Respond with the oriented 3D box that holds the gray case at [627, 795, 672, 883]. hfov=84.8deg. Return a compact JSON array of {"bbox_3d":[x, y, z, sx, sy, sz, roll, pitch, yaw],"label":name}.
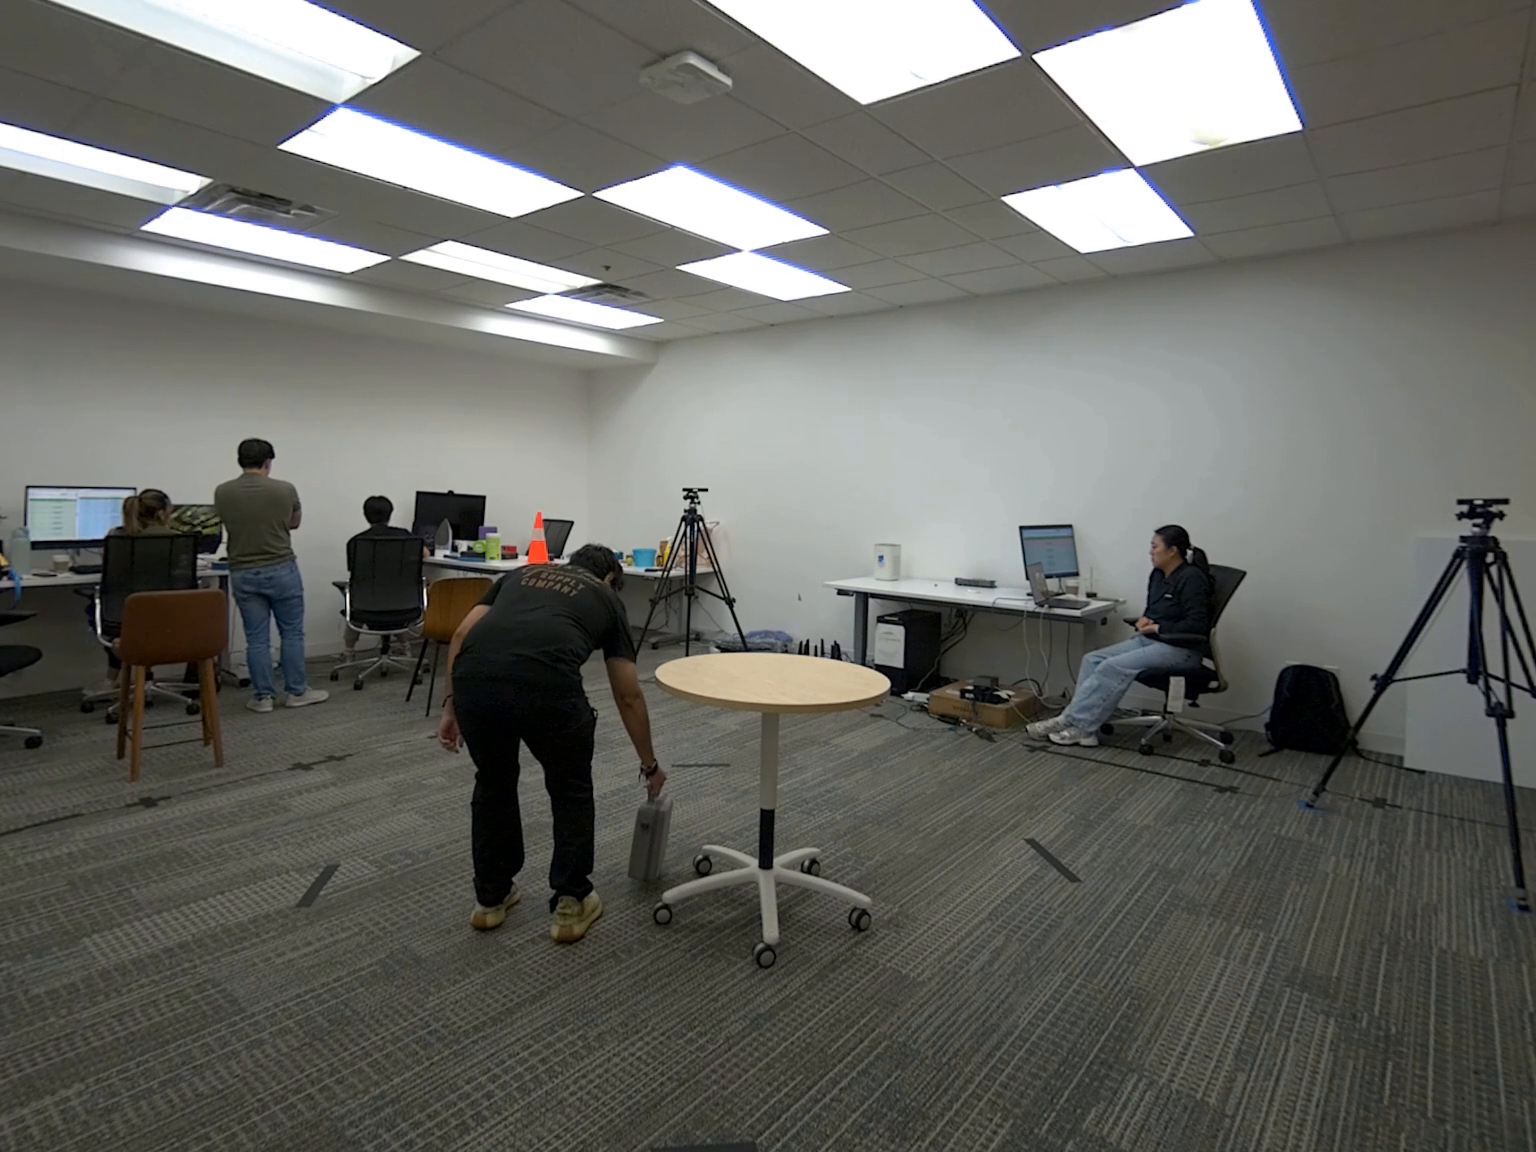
[{"bbox_3d":[-0.422,0.903,2.988,0.105,0.261,0.255,6,-3,2],"label":"gray case"}]
